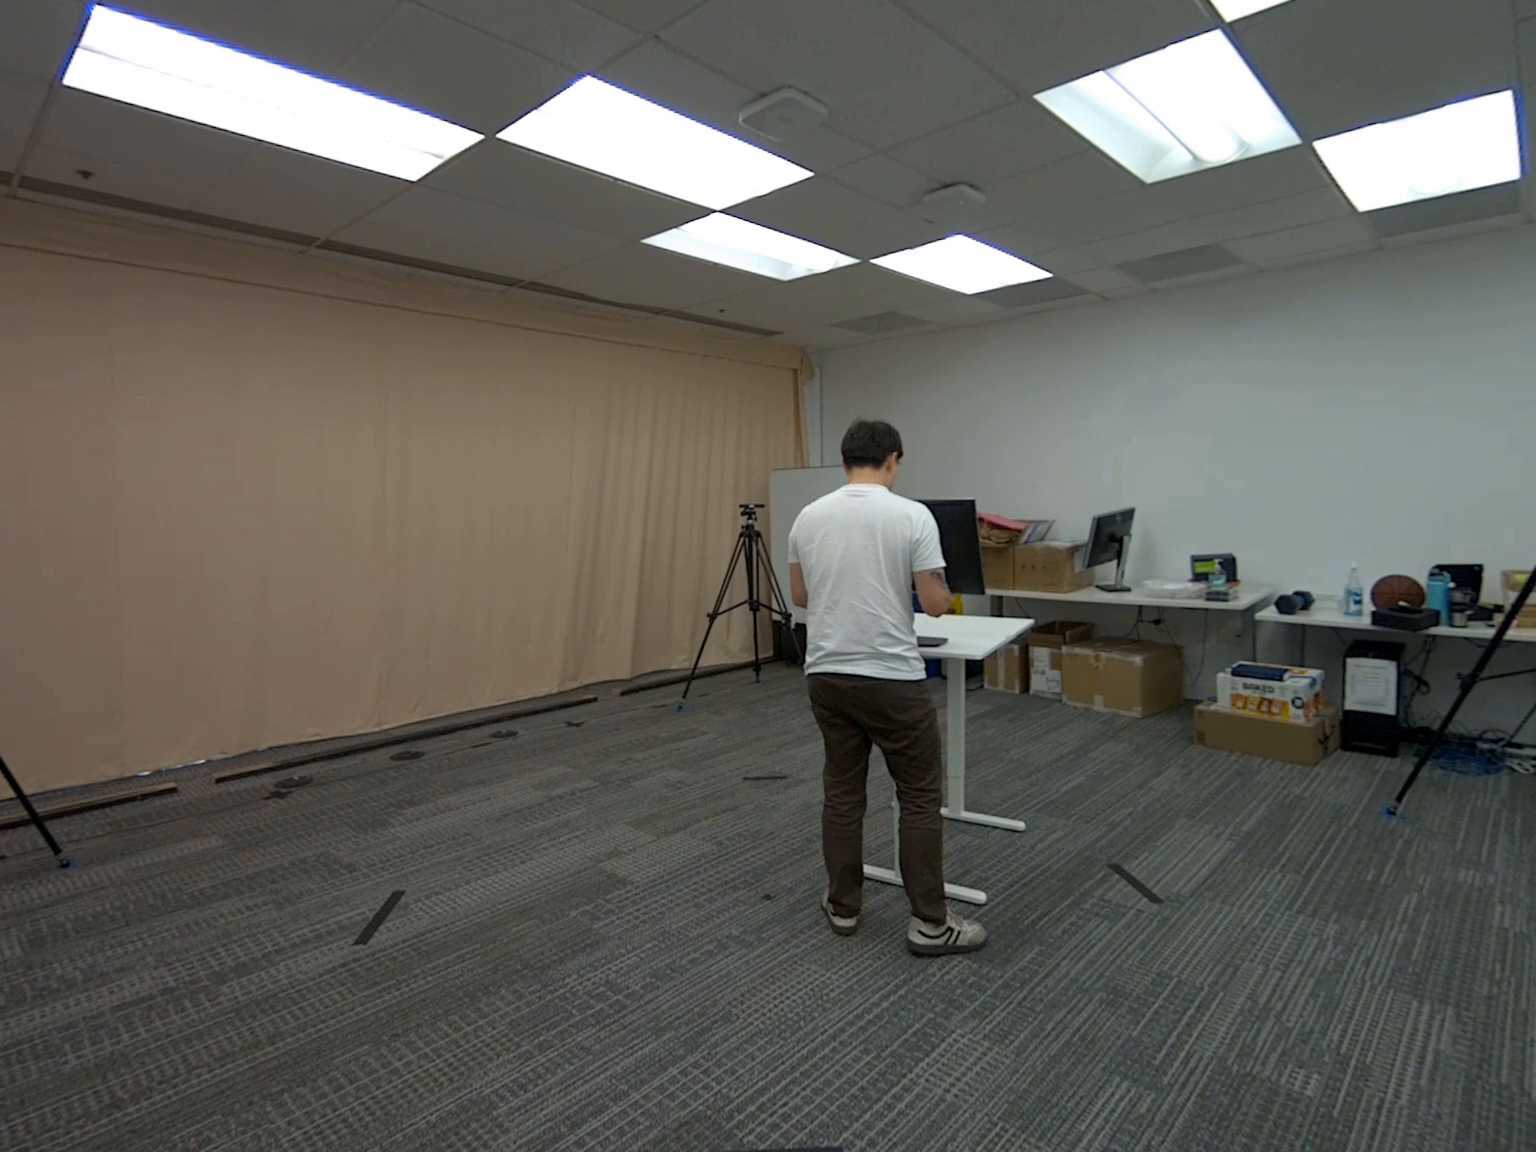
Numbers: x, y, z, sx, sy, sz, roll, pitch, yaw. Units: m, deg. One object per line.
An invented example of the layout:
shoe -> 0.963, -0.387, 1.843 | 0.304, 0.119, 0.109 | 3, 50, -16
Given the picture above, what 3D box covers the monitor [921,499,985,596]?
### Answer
monitor -> 0.496, -0.015, 3.018 | 0.555, 0.520, 0.182 | 2, 7, 34
